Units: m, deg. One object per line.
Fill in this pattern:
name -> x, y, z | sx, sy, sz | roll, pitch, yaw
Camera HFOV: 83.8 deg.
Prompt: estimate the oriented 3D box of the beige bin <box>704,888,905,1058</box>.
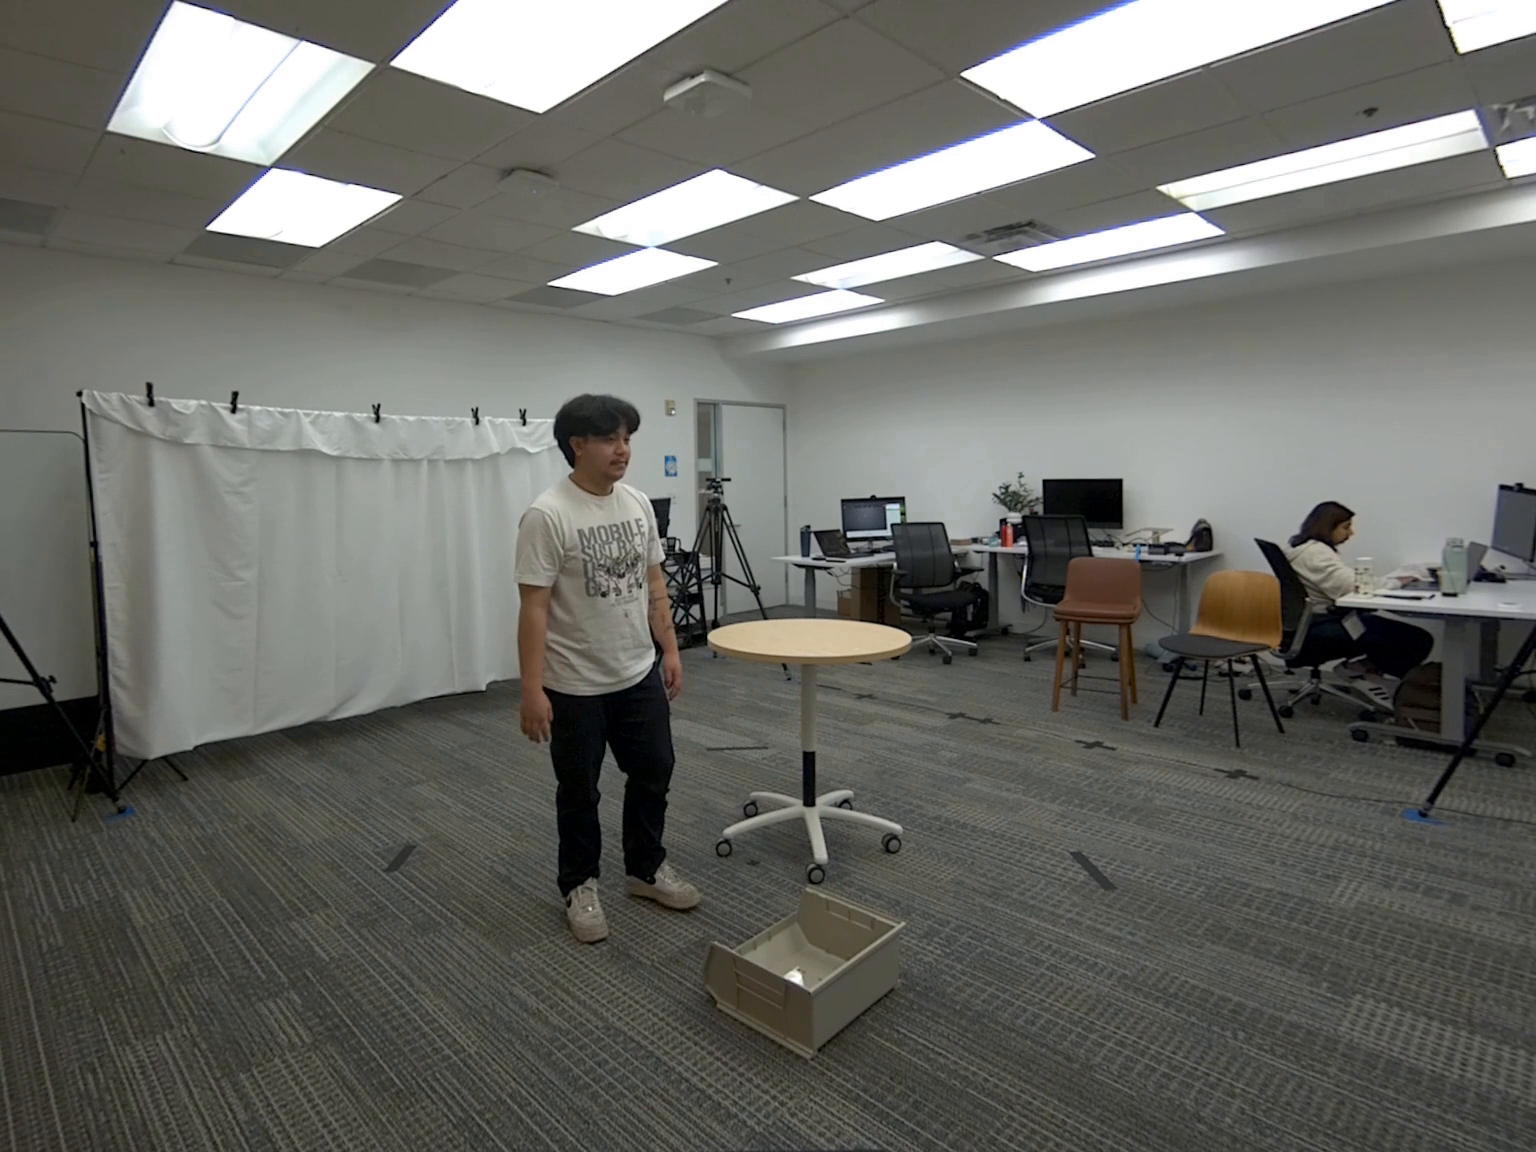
beige bin -> 0.106, 1.050, 2.305 | 0.389, 0.188, 0.411 | 5, 8, 42
